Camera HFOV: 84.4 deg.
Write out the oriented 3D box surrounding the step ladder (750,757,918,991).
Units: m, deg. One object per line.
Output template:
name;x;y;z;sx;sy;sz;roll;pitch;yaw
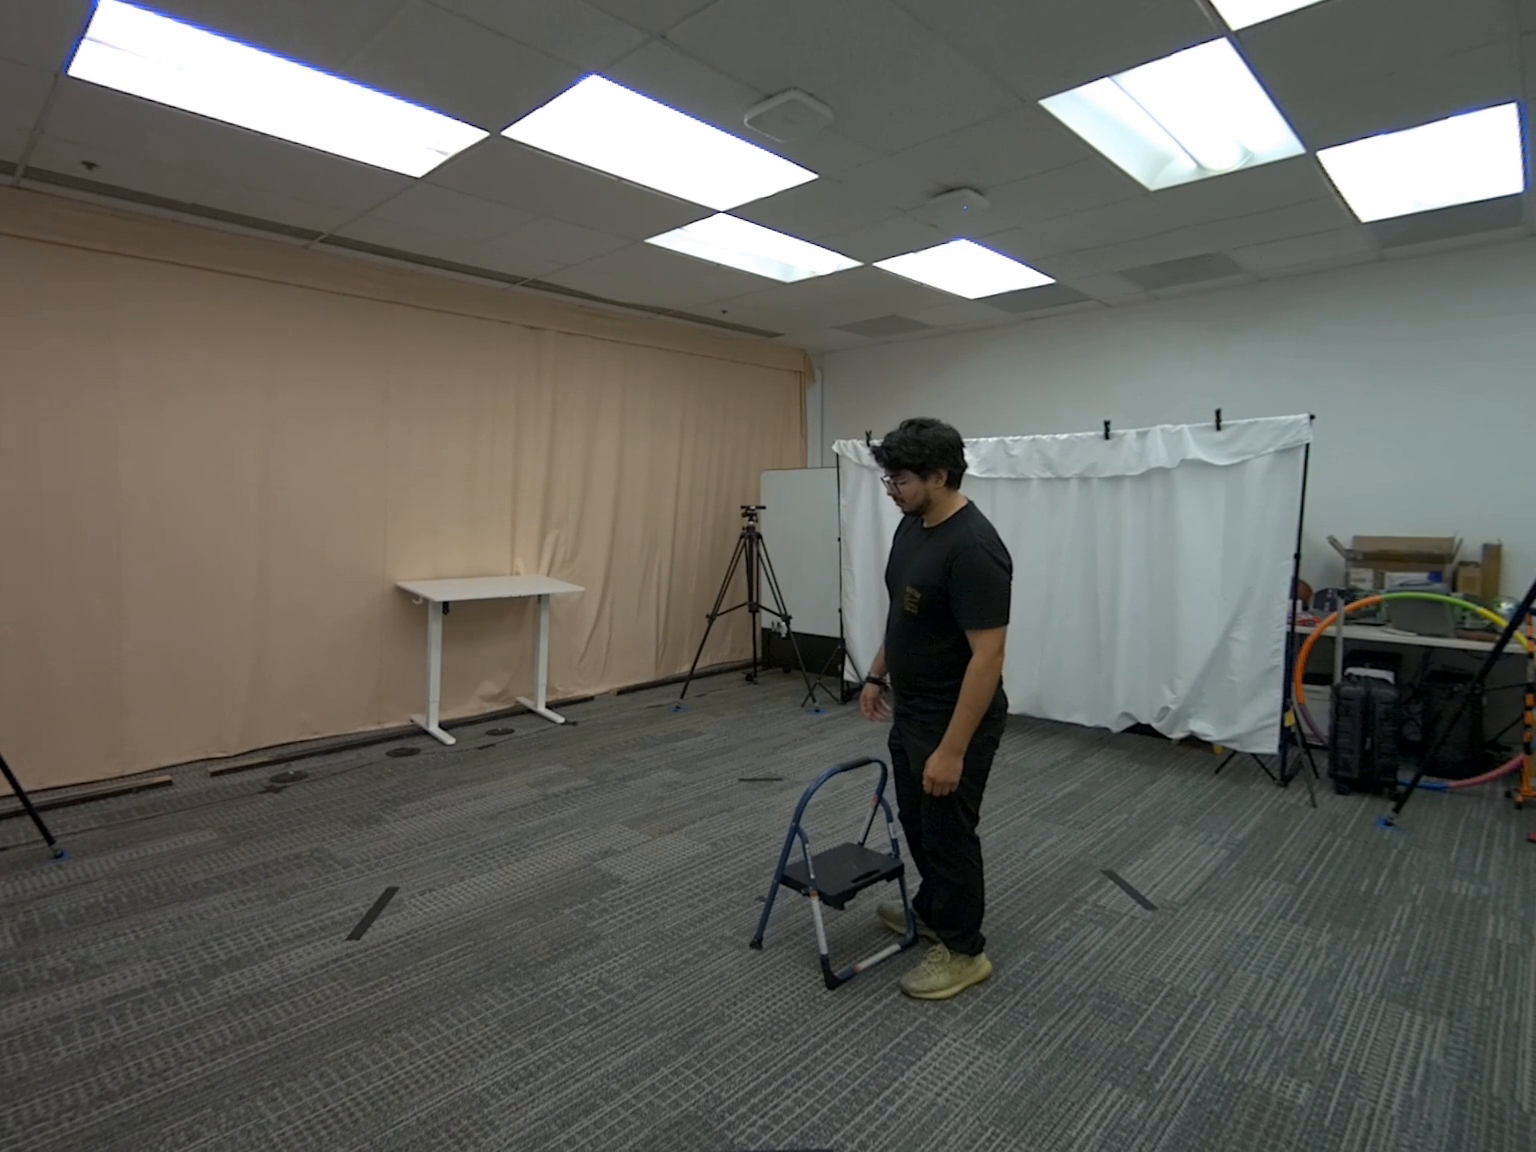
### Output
step ladder;0.212;0.868;2.656;0.417;0.605;0.361;-3;5;-43
